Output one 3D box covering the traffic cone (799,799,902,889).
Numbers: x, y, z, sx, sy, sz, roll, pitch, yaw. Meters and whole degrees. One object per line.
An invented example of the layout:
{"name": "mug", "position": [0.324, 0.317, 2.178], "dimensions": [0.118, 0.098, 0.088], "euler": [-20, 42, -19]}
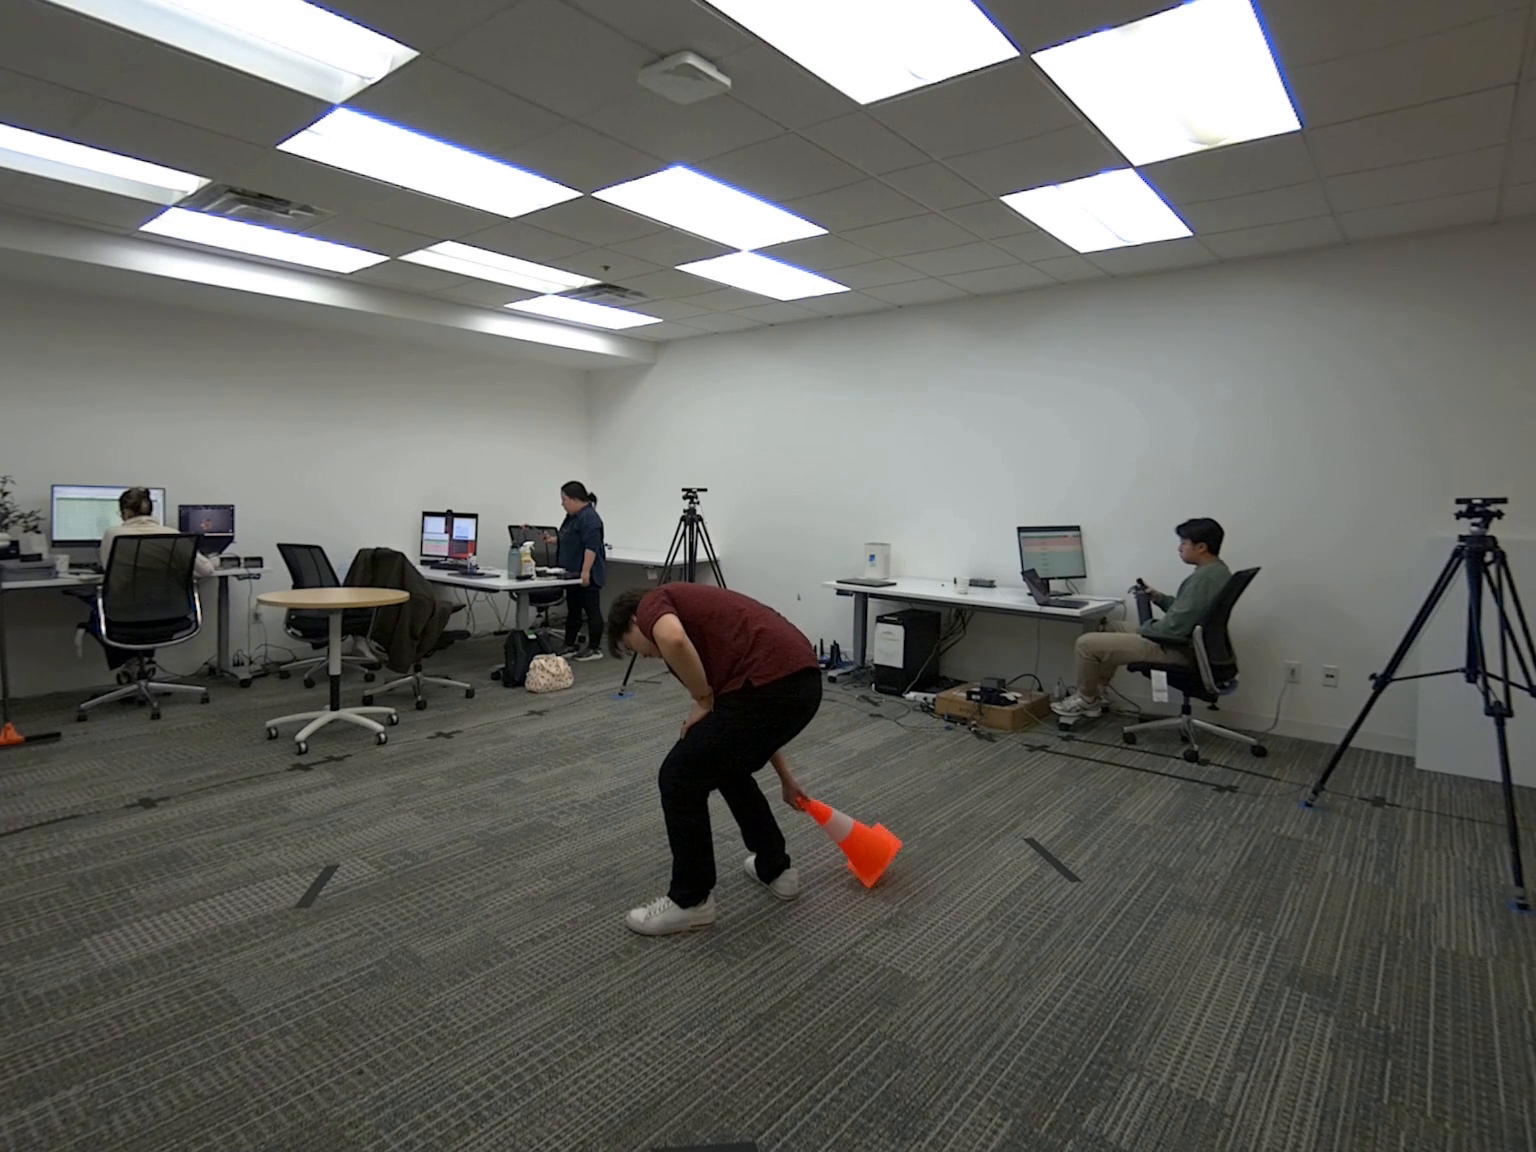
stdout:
{"name": "traffic cone", "position": [0.238, 0.897, 3.034], "dimensions": [0.374, 0.203, 0.210], "euler": [39, -5, -18]}
